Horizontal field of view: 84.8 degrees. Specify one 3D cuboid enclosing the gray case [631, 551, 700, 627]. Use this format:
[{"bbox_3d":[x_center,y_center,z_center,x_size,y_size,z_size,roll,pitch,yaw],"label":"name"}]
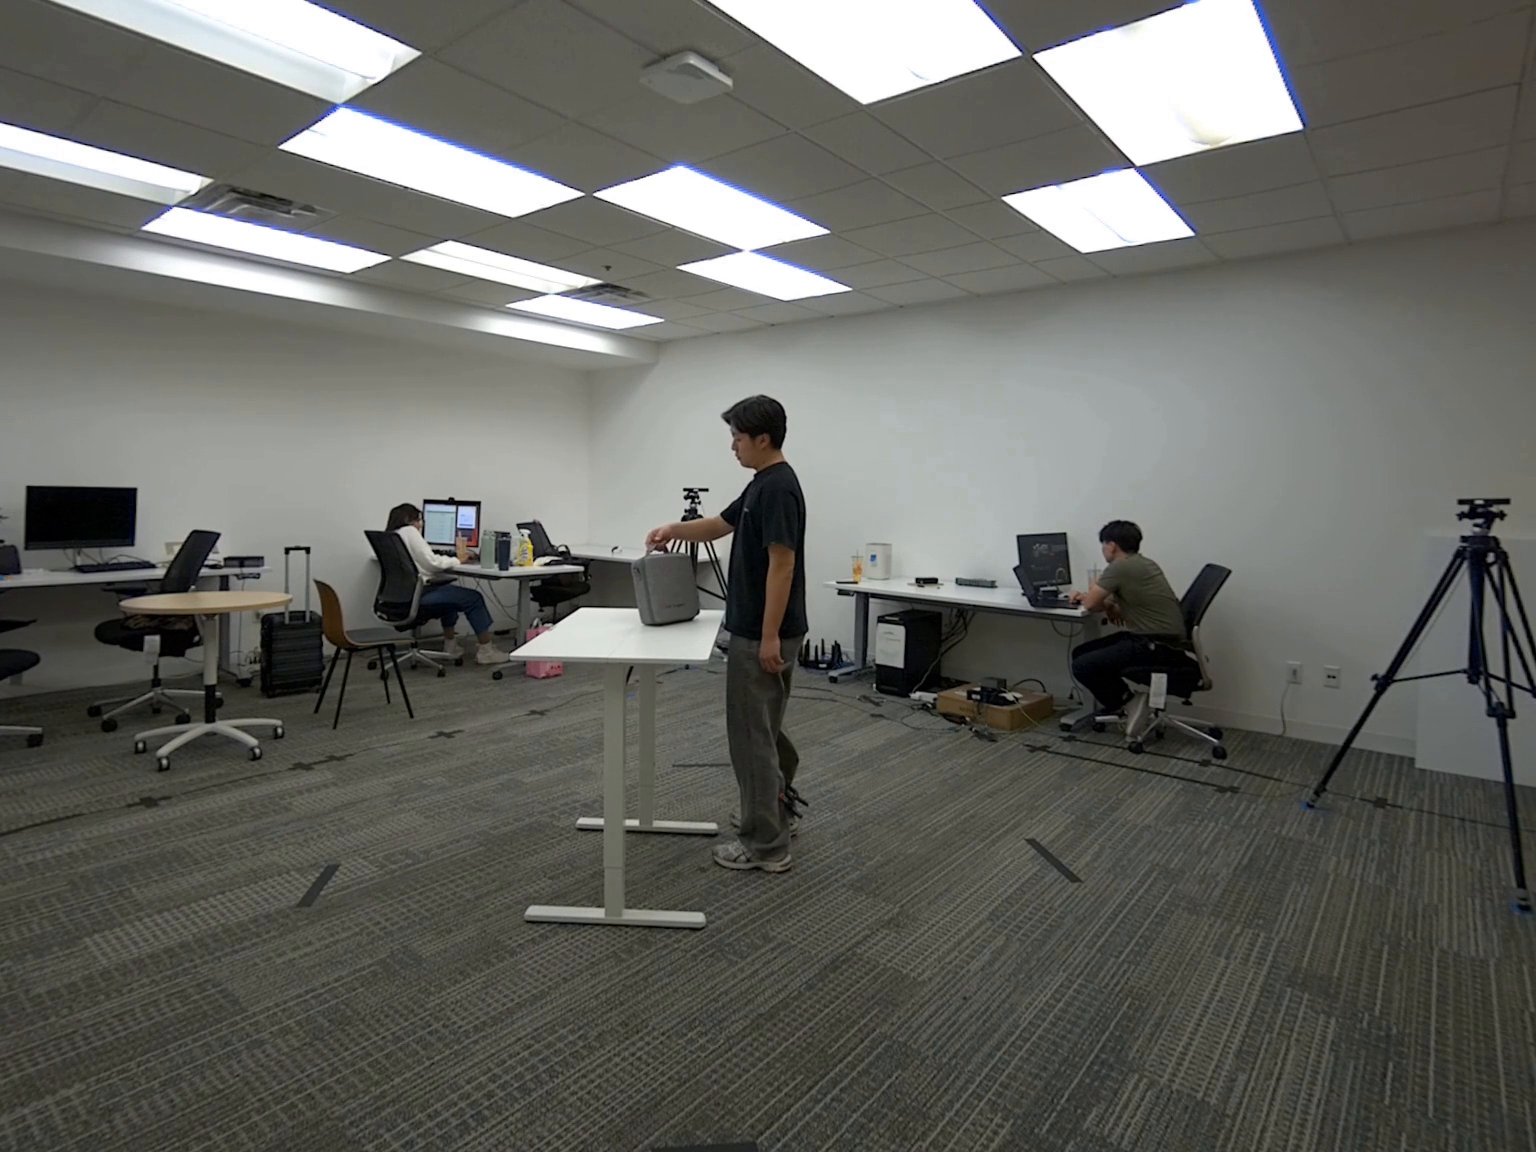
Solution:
[{"bbox_3d":[-0.403,0.034,3.213,0.105,0.289,0.256,-16,-7,38],"label":"gray case"}]
